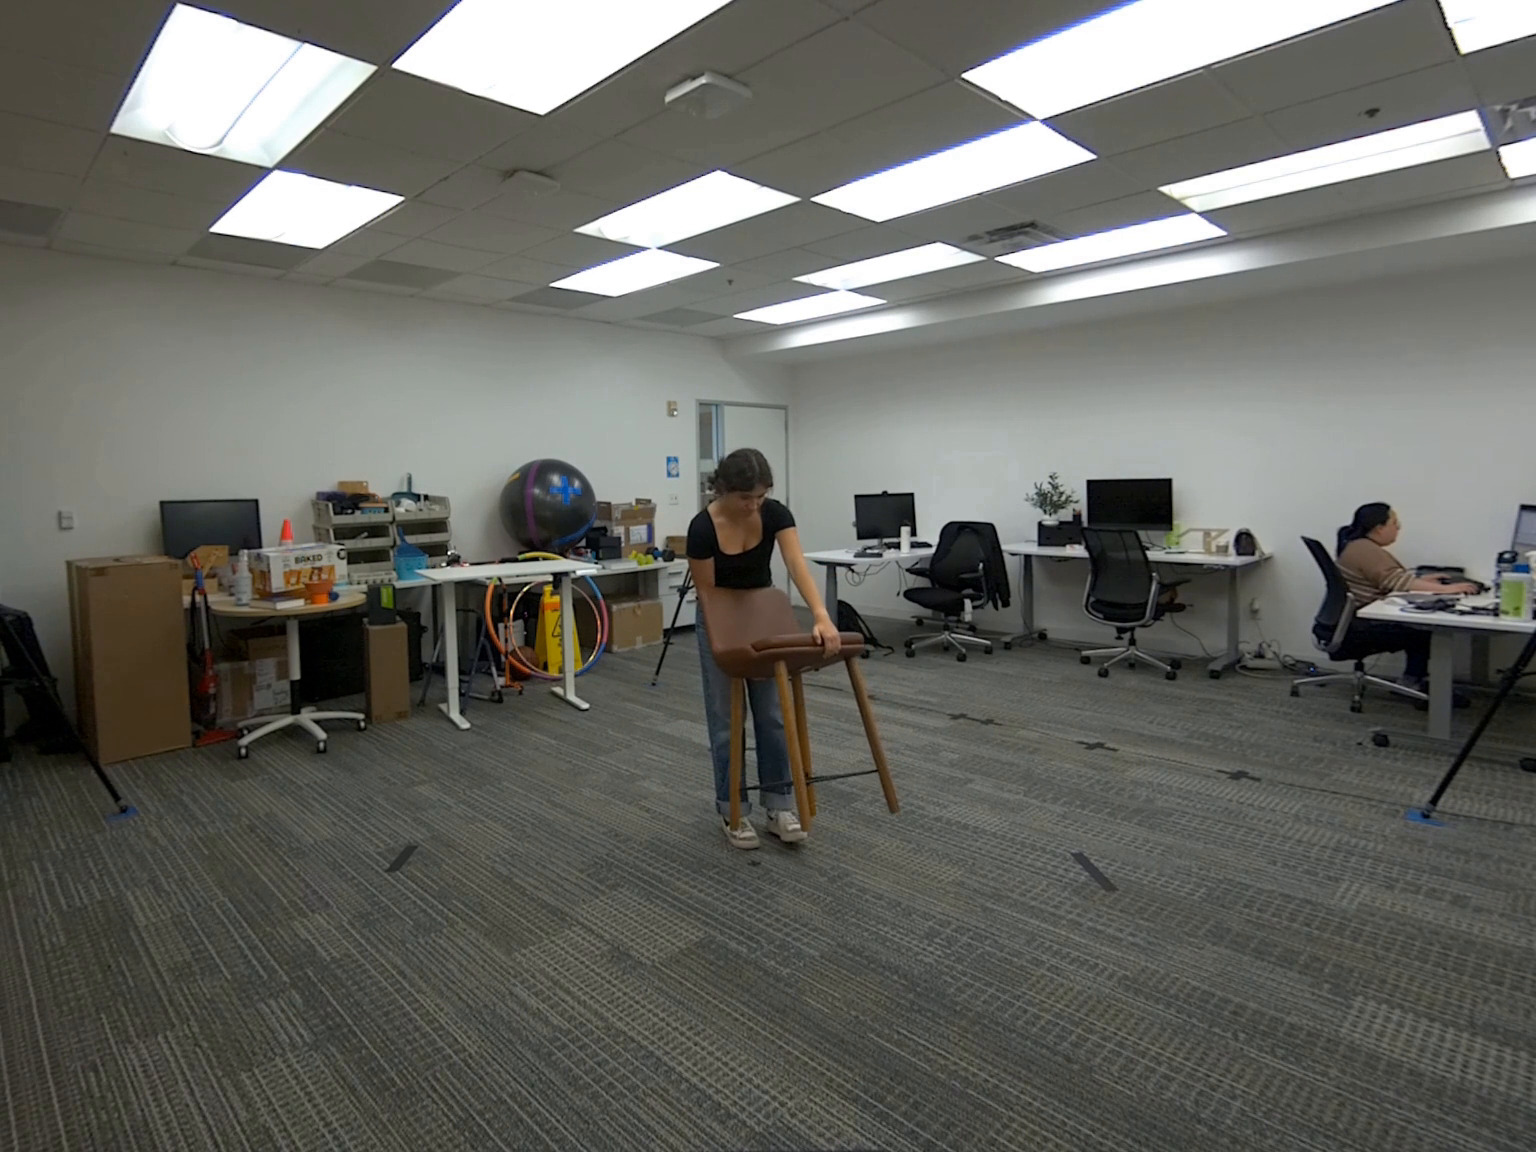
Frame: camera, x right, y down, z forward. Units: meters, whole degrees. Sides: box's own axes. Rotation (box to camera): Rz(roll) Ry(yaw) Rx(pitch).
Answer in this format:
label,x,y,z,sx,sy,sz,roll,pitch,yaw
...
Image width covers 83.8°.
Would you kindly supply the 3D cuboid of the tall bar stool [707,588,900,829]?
label,x,y,z,sx,sy,sz,roll,pitch,yaw
tall bar stool,0.090,0.424,3.008,0.444,0.904,0.473,3,-19,-34
